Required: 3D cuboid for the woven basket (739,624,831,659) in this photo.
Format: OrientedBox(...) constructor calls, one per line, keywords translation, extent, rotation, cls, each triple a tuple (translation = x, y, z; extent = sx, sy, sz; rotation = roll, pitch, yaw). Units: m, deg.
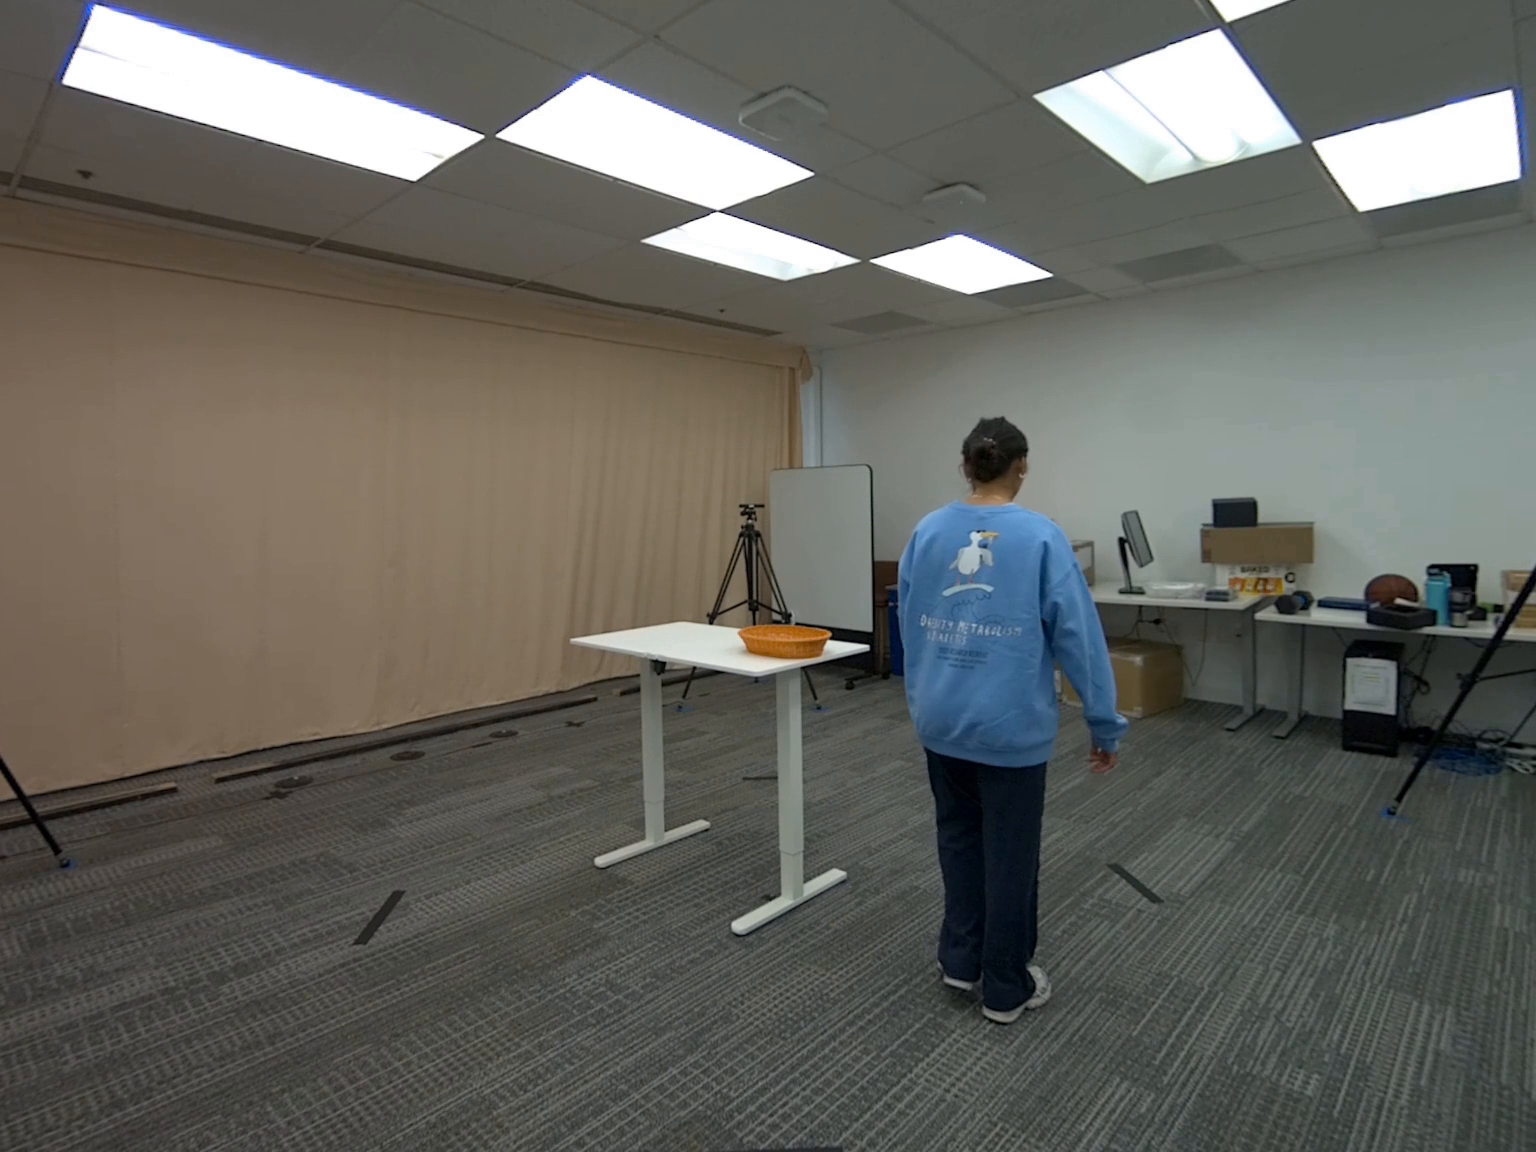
OrientedBox(translation=(0.059, 0.235, 2.897), extent=(0.245, 0.073, 0.362), rotation=(-8, 9, -42), cls="woven basket")
